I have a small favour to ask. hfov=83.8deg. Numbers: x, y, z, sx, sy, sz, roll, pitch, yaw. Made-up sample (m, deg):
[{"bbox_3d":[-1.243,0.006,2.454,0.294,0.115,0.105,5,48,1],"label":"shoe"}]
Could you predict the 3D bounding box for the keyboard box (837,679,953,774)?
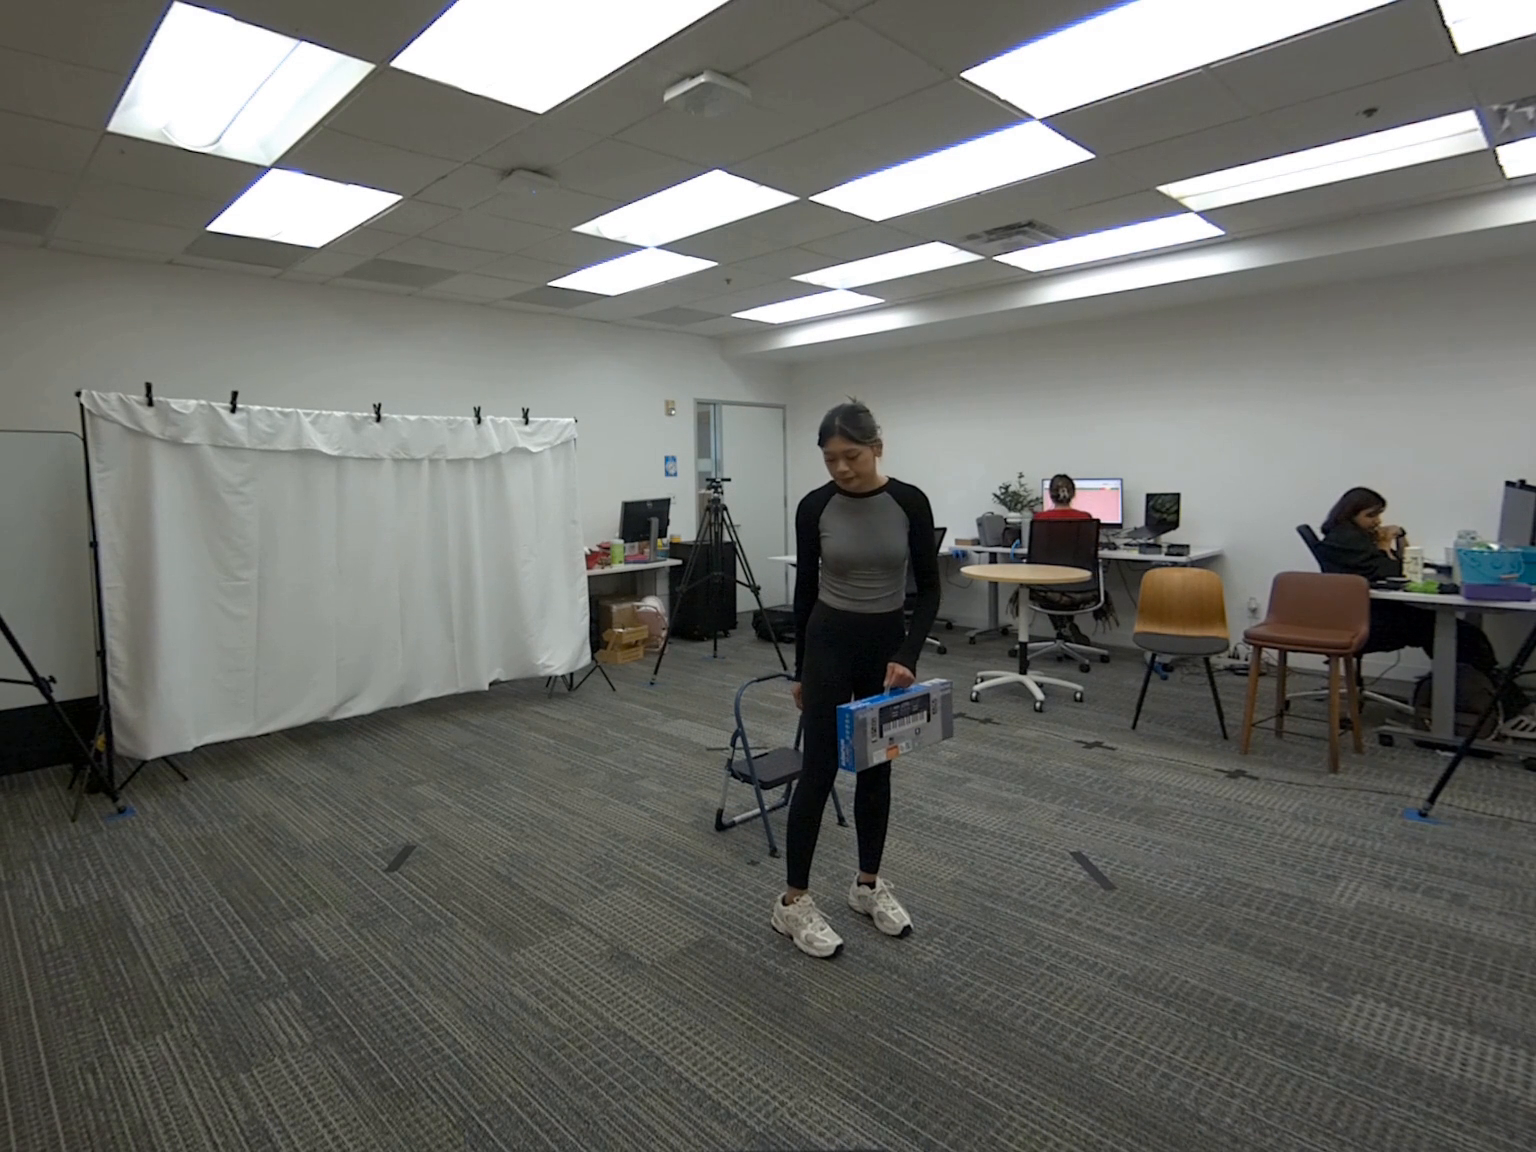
[{"bbox_3d":[0.366,0.419,2.414,0.426,0.175,0.061,-8,7,-41],"label":"keyboard box"}]
